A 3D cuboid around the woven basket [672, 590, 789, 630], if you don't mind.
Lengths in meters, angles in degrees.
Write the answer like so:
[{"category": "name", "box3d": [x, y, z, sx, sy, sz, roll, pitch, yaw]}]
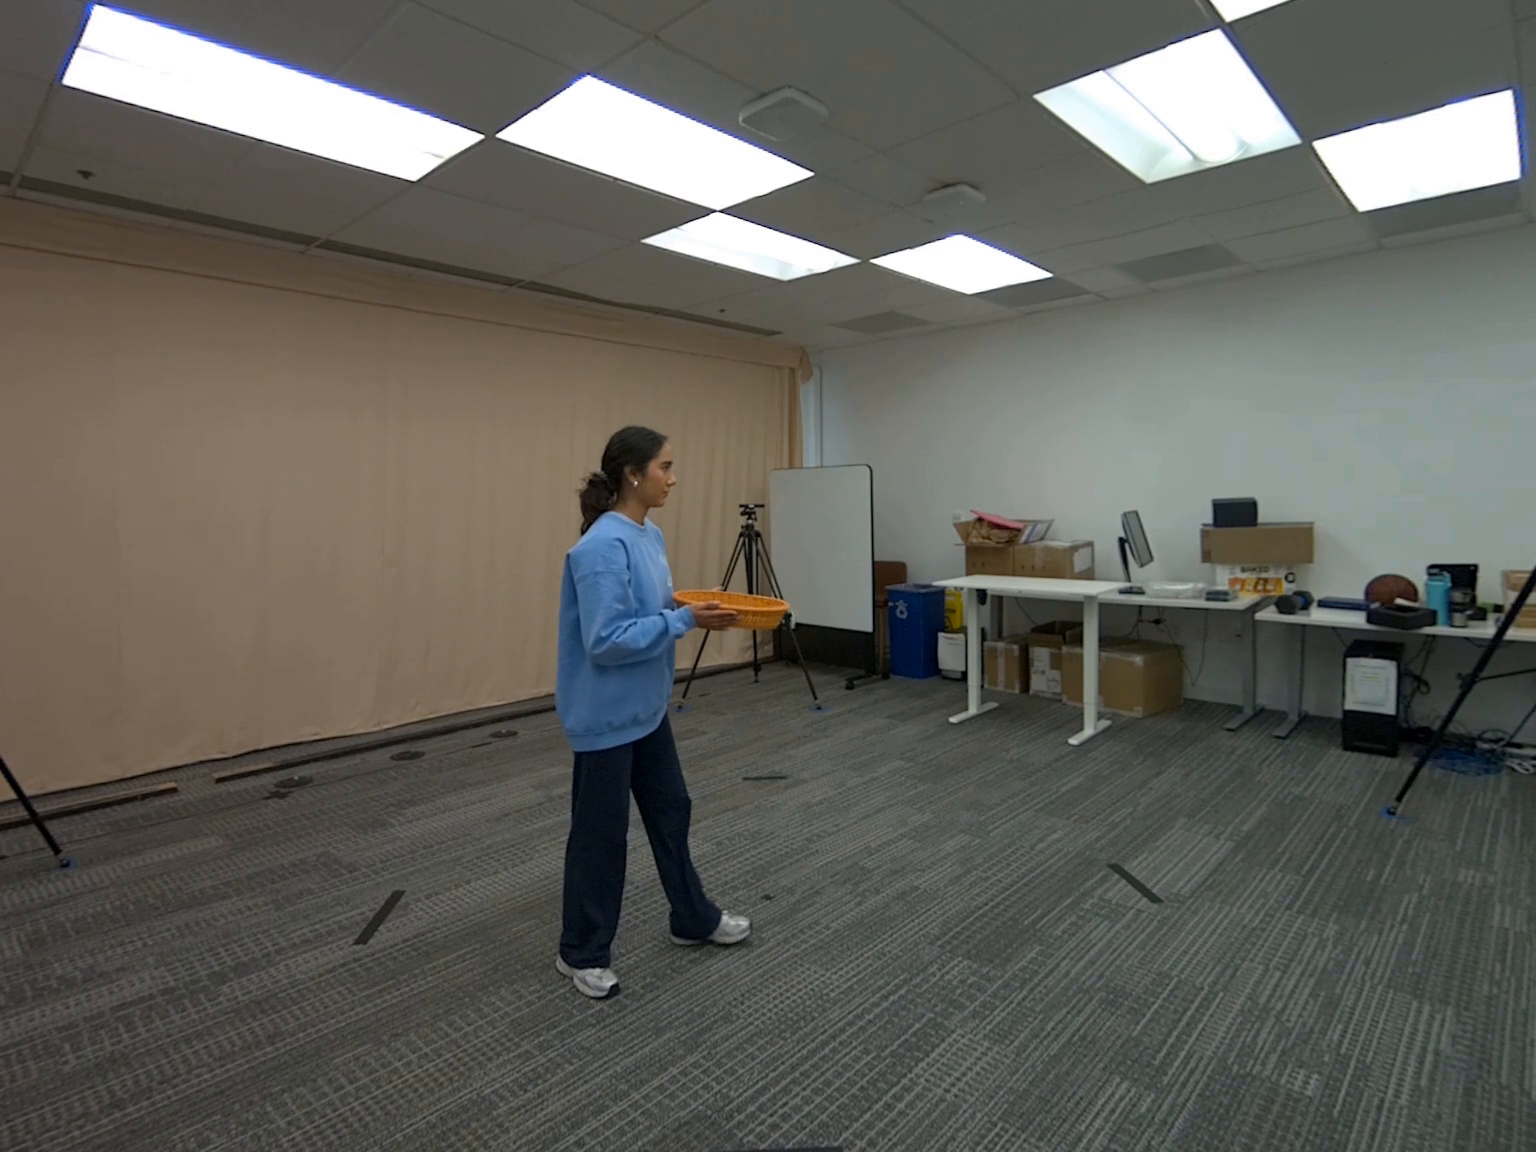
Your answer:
[{"category": "woven basket", "box3d": [-0.116, 0.111, 2.418, 0.344, 0.073, 0.258, 1, 9, -17]}]
